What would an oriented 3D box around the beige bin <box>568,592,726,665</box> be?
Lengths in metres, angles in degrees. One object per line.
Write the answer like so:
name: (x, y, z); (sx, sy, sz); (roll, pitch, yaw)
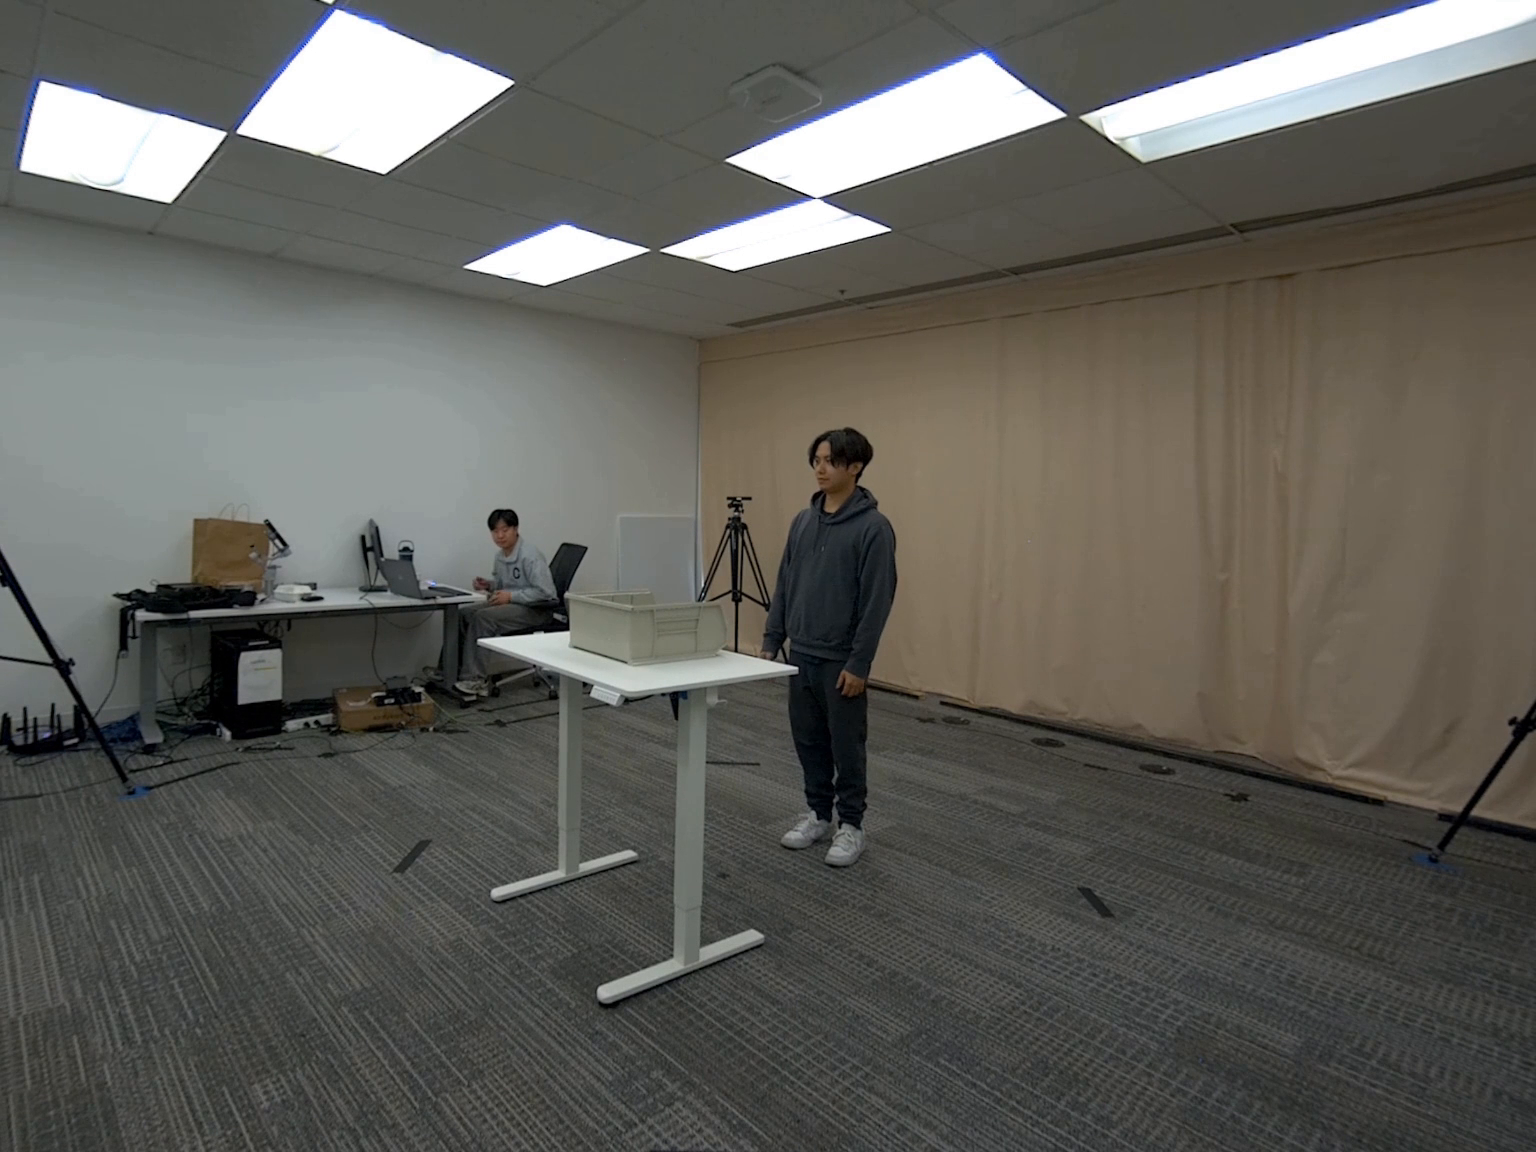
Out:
beige bin: (-0.408, 0.162, 2.758); (0.369, 0.188, 0.433); (-3, 6, -39)
